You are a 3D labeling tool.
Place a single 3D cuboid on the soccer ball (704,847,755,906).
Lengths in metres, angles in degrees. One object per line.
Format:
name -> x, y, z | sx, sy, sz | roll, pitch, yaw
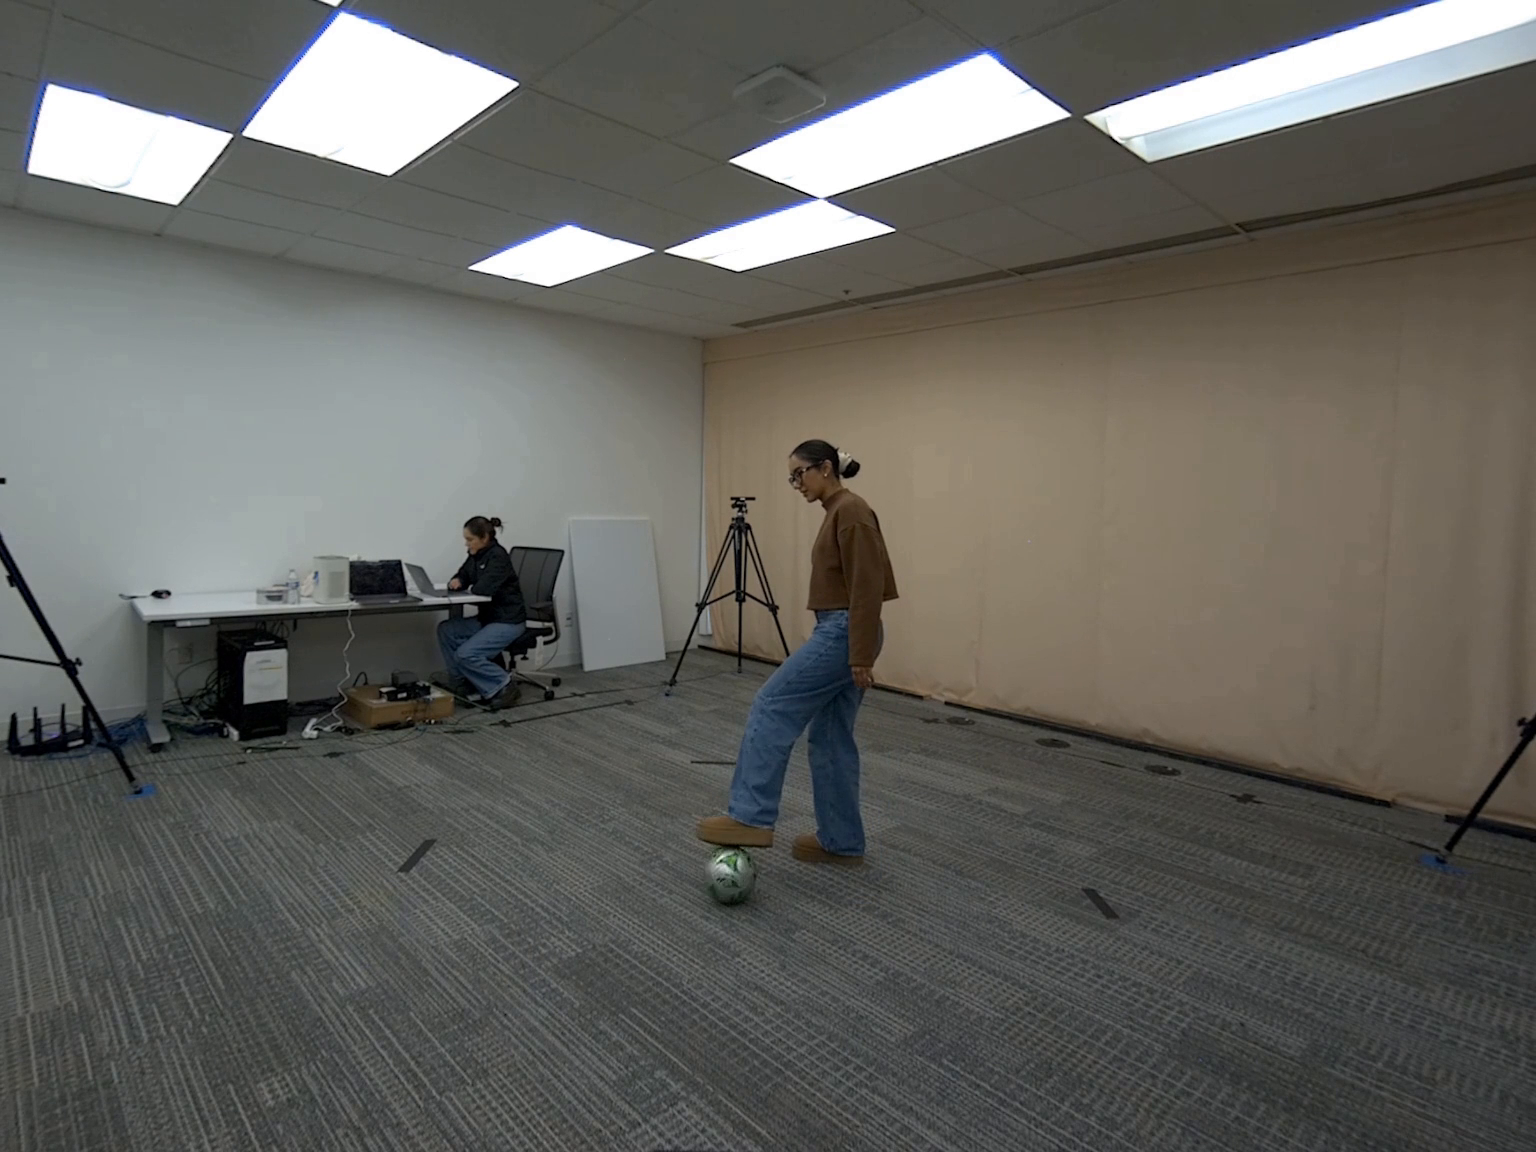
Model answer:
soccer ball -> -0.137, 1.031, 2.906 | 0.187, 0.187, 0.188 | 1, 4, -1
